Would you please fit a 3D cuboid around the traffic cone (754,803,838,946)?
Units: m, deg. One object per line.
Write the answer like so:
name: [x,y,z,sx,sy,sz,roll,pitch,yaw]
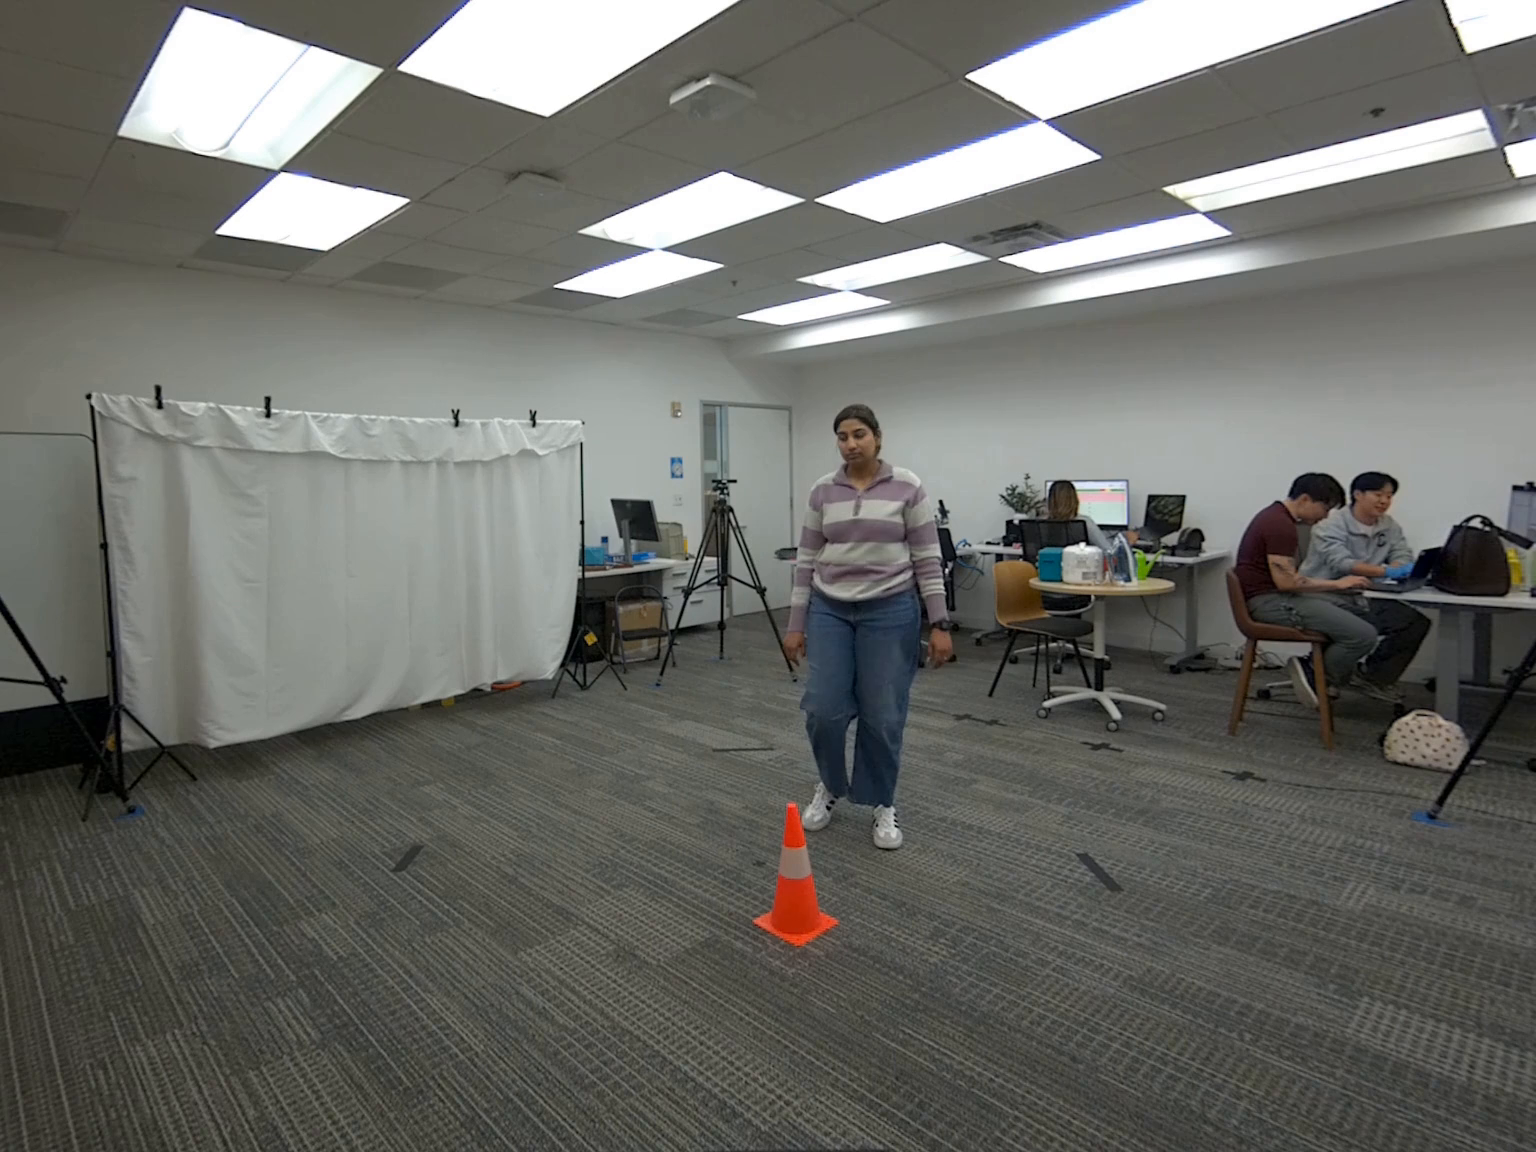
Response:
traffic cone: [0.089,0.909,2.681,0.198,0.382,0.211,-5,5,-44]
